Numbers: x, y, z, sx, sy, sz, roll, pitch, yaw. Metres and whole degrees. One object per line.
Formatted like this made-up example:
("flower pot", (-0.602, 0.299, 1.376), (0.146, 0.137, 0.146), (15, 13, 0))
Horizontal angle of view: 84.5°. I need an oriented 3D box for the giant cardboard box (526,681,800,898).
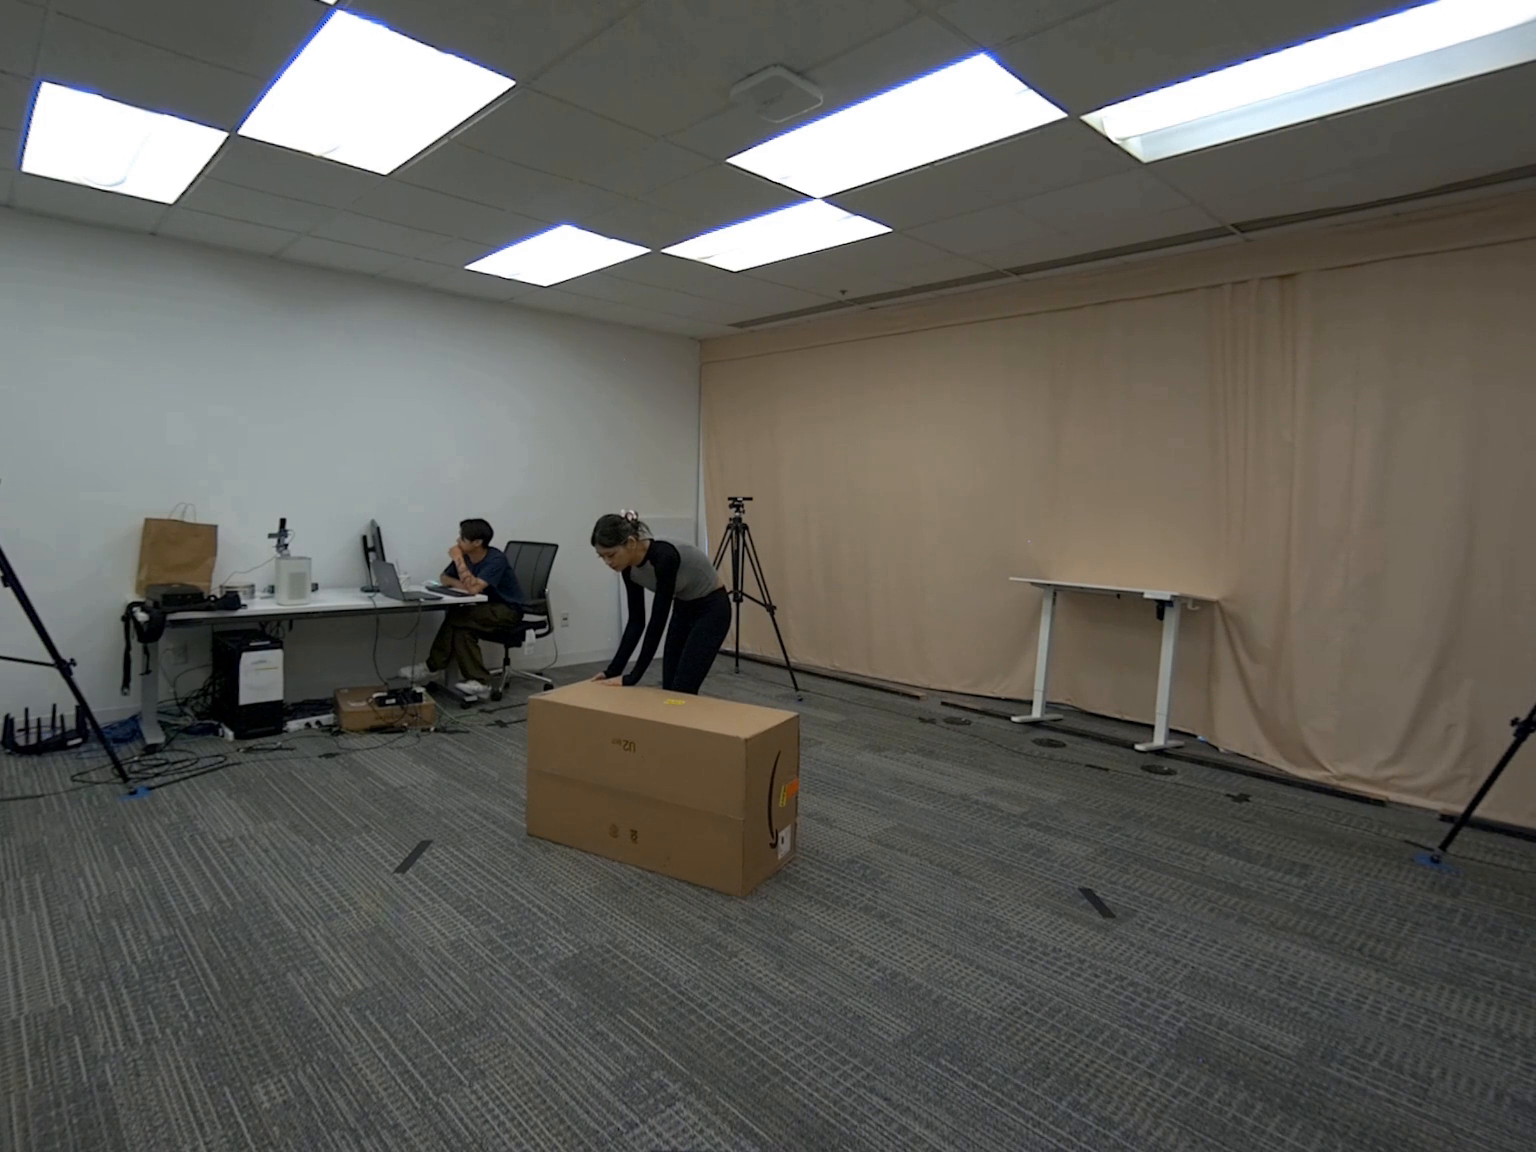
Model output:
("giant cardboard box", (-0.432, 0.792, 3.339), (1.049, 0.583, 0.438), (4, 4, 29))
